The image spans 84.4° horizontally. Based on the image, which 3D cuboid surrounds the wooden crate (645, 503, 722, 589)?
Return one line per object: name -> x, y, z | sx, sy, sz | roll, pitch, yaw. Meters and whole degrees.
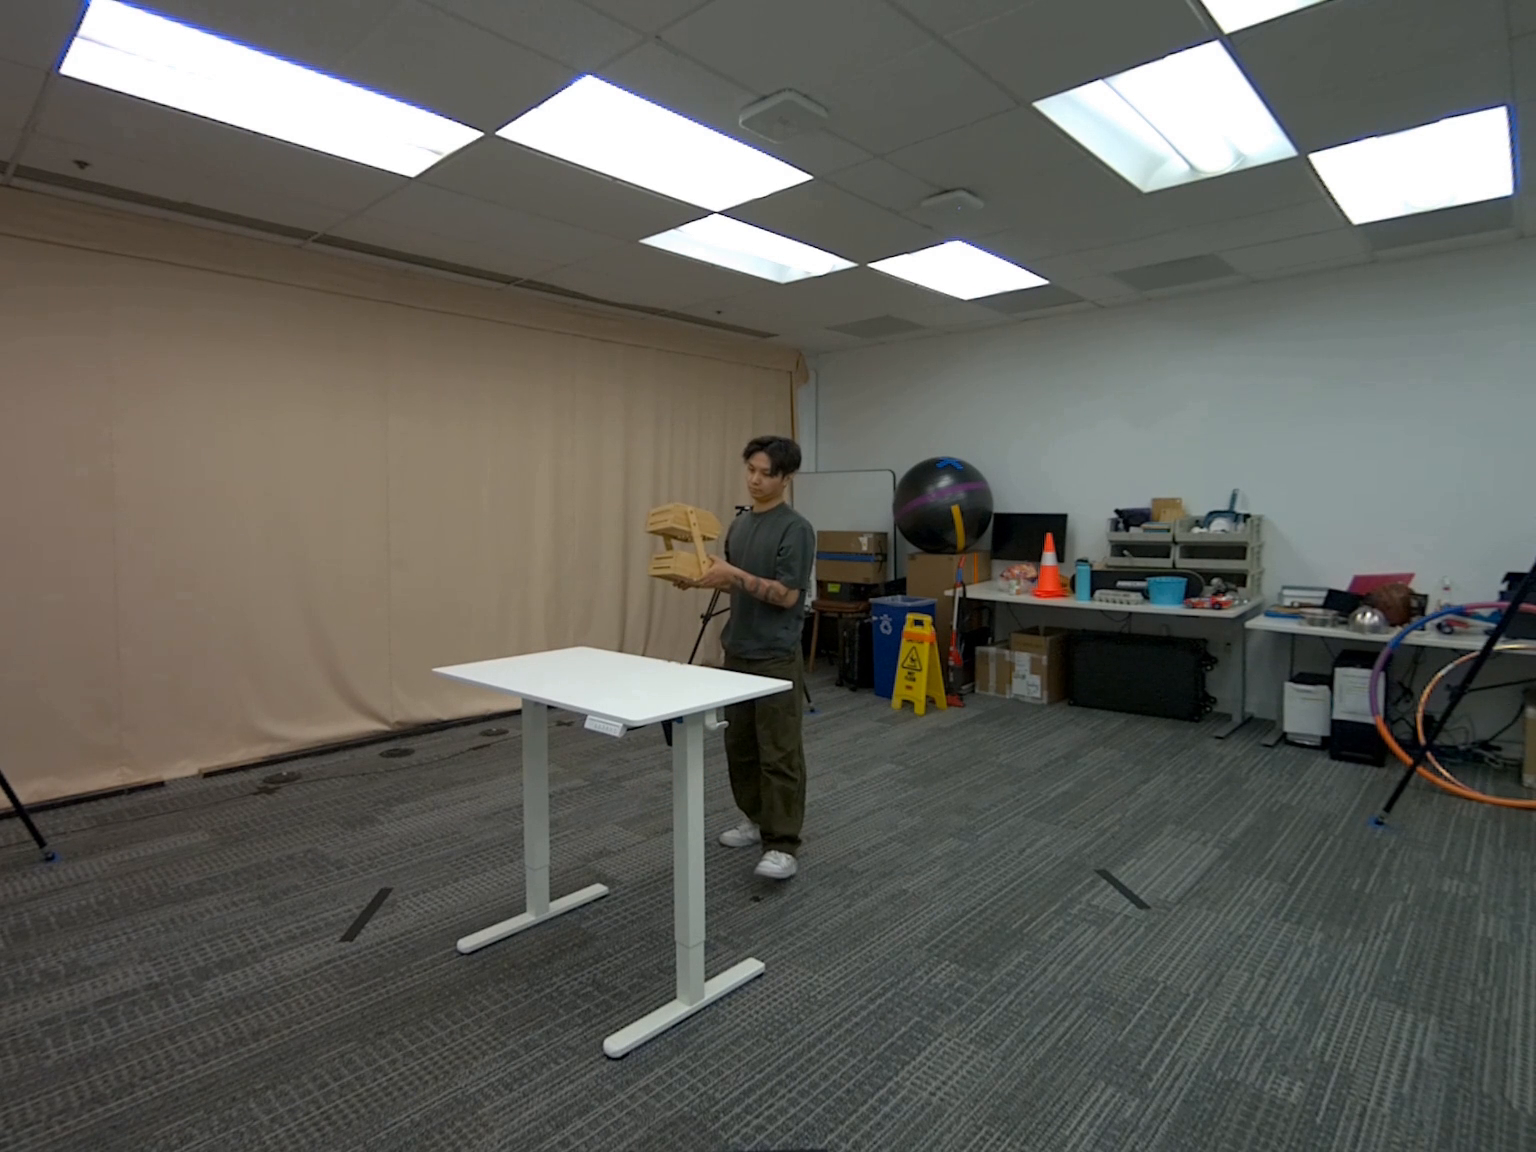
wooden crate -> -0.296, -0.112, 3.294 | 0.294, 0.274, 0.332 | 15, -9, -25
